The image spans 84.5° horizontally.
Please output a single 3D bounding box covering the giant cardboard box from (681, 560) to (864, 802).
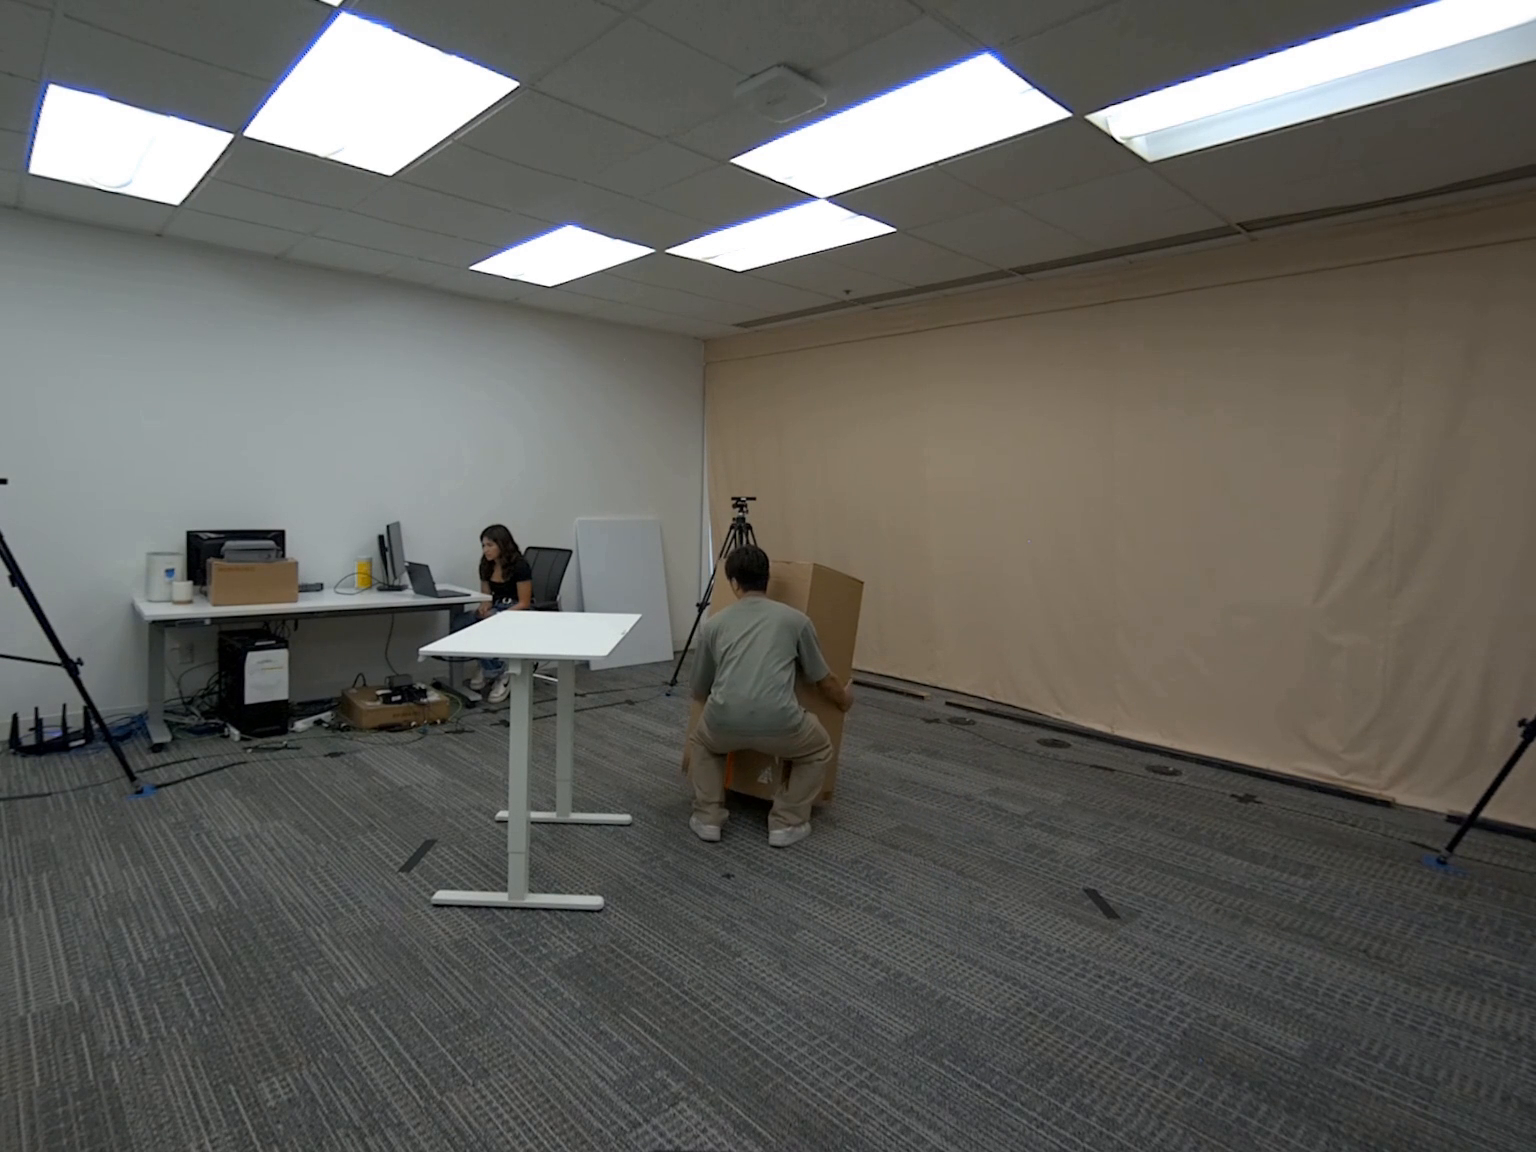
[{"bbox_3d":[0.018,0.462,3.919,0.592,1.031,0.413,2,-11,40],"label":"giant cardboard box"}]
